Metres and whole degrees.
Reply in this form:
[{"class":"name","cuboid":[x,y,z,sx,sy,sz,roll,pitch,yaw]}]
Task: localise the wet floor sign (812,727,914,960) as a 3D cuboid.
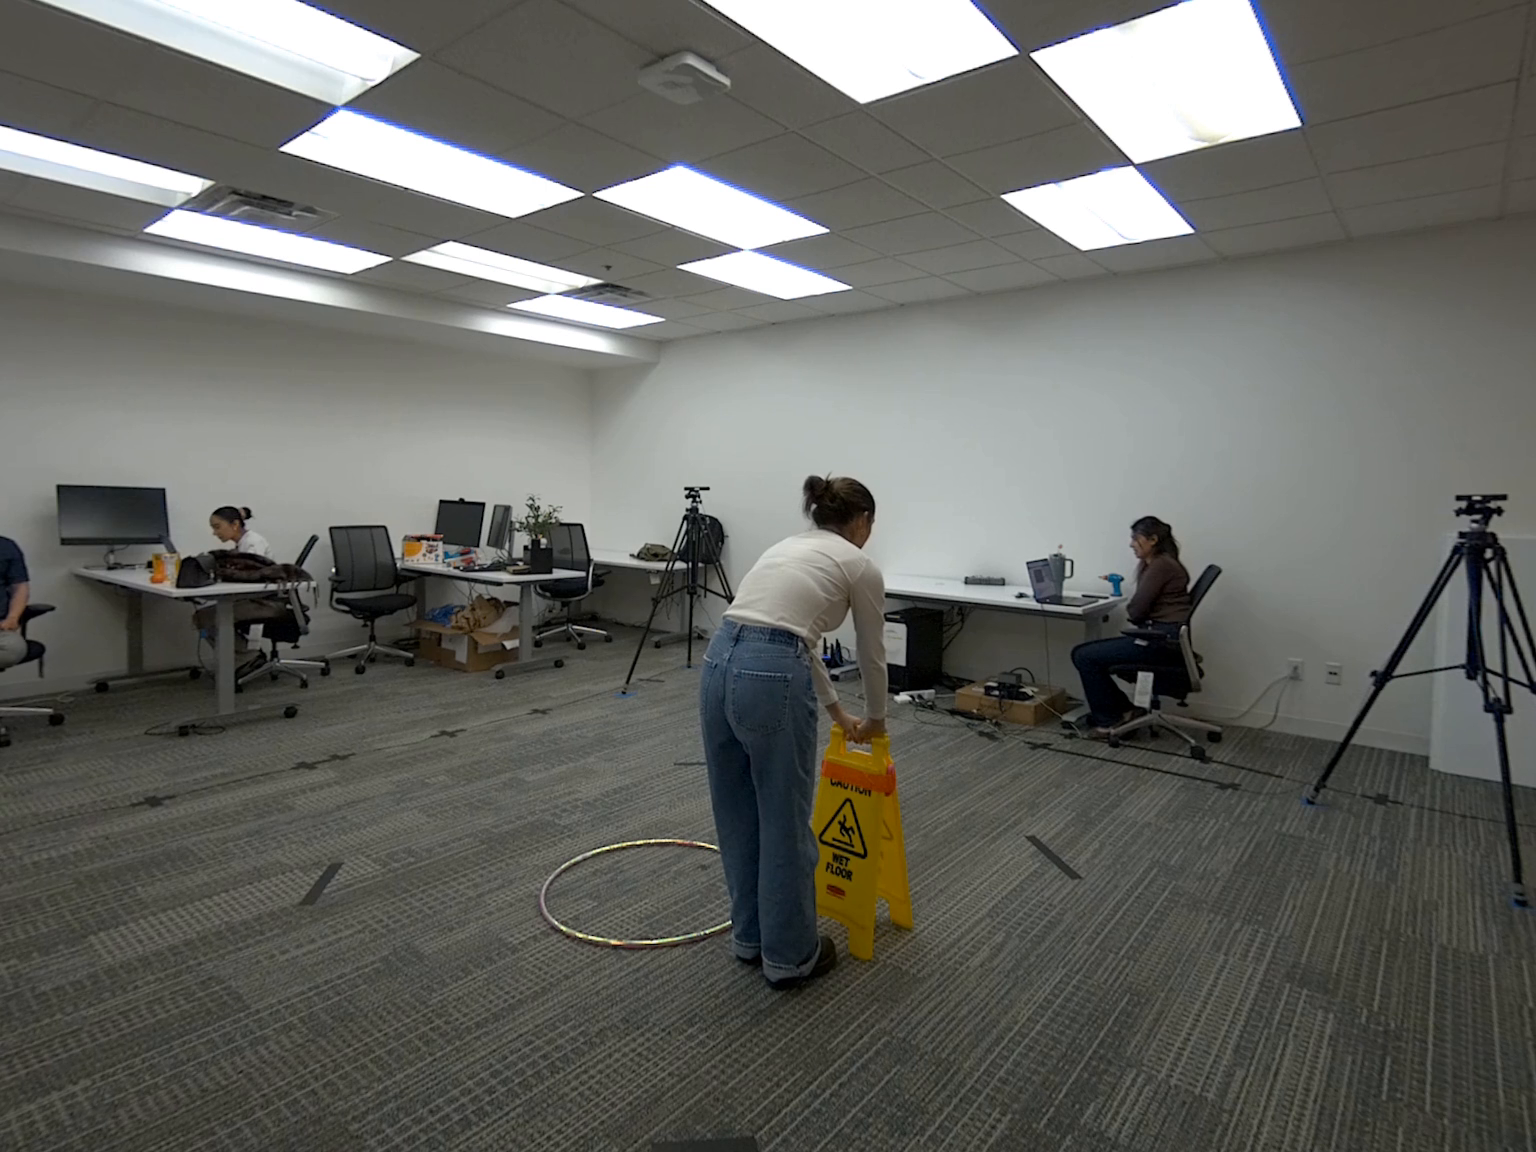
[{"class":"wet floor sign","cuboid":[0.276,0.793,2.689,0.292,0.644,0.281,5,4,39]}]
